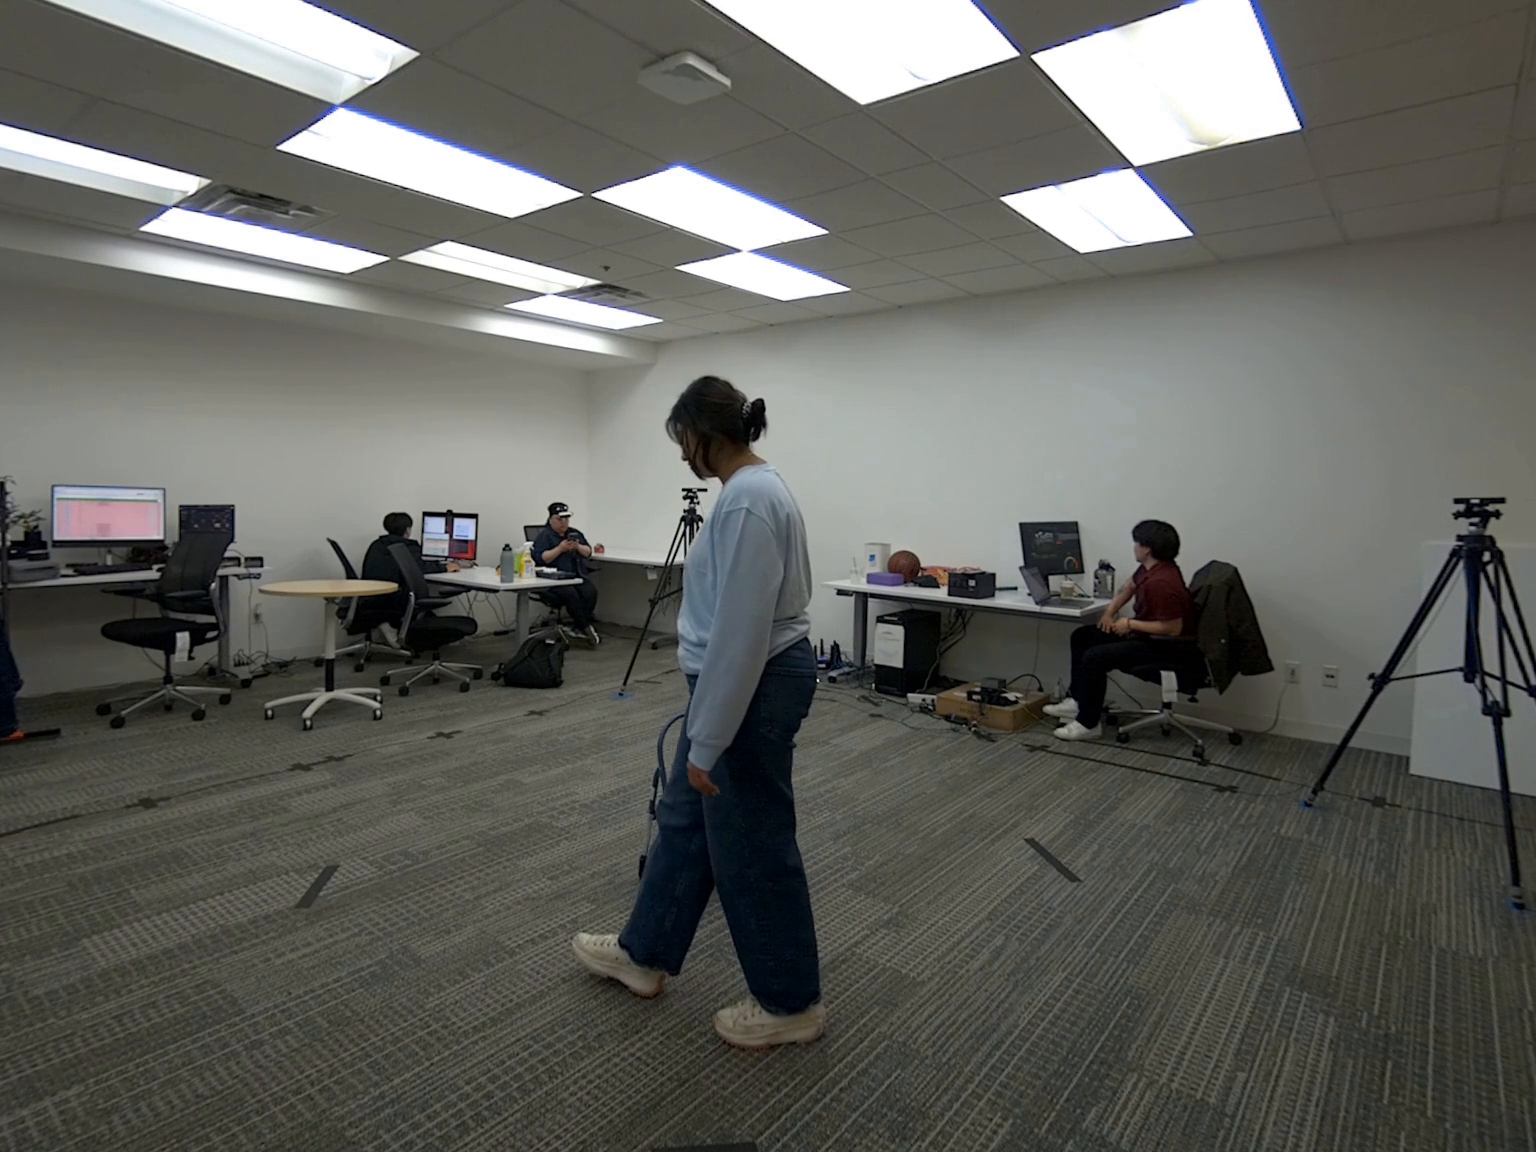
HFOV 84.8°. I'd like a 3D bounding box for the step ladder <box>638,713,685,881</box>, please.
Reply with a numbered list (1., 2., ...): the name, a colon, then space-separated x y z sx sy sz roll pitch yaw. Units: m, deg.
1. step ladder: -0.195 0.776 2.975 0.418 0.604 0.360 0 4 -34
